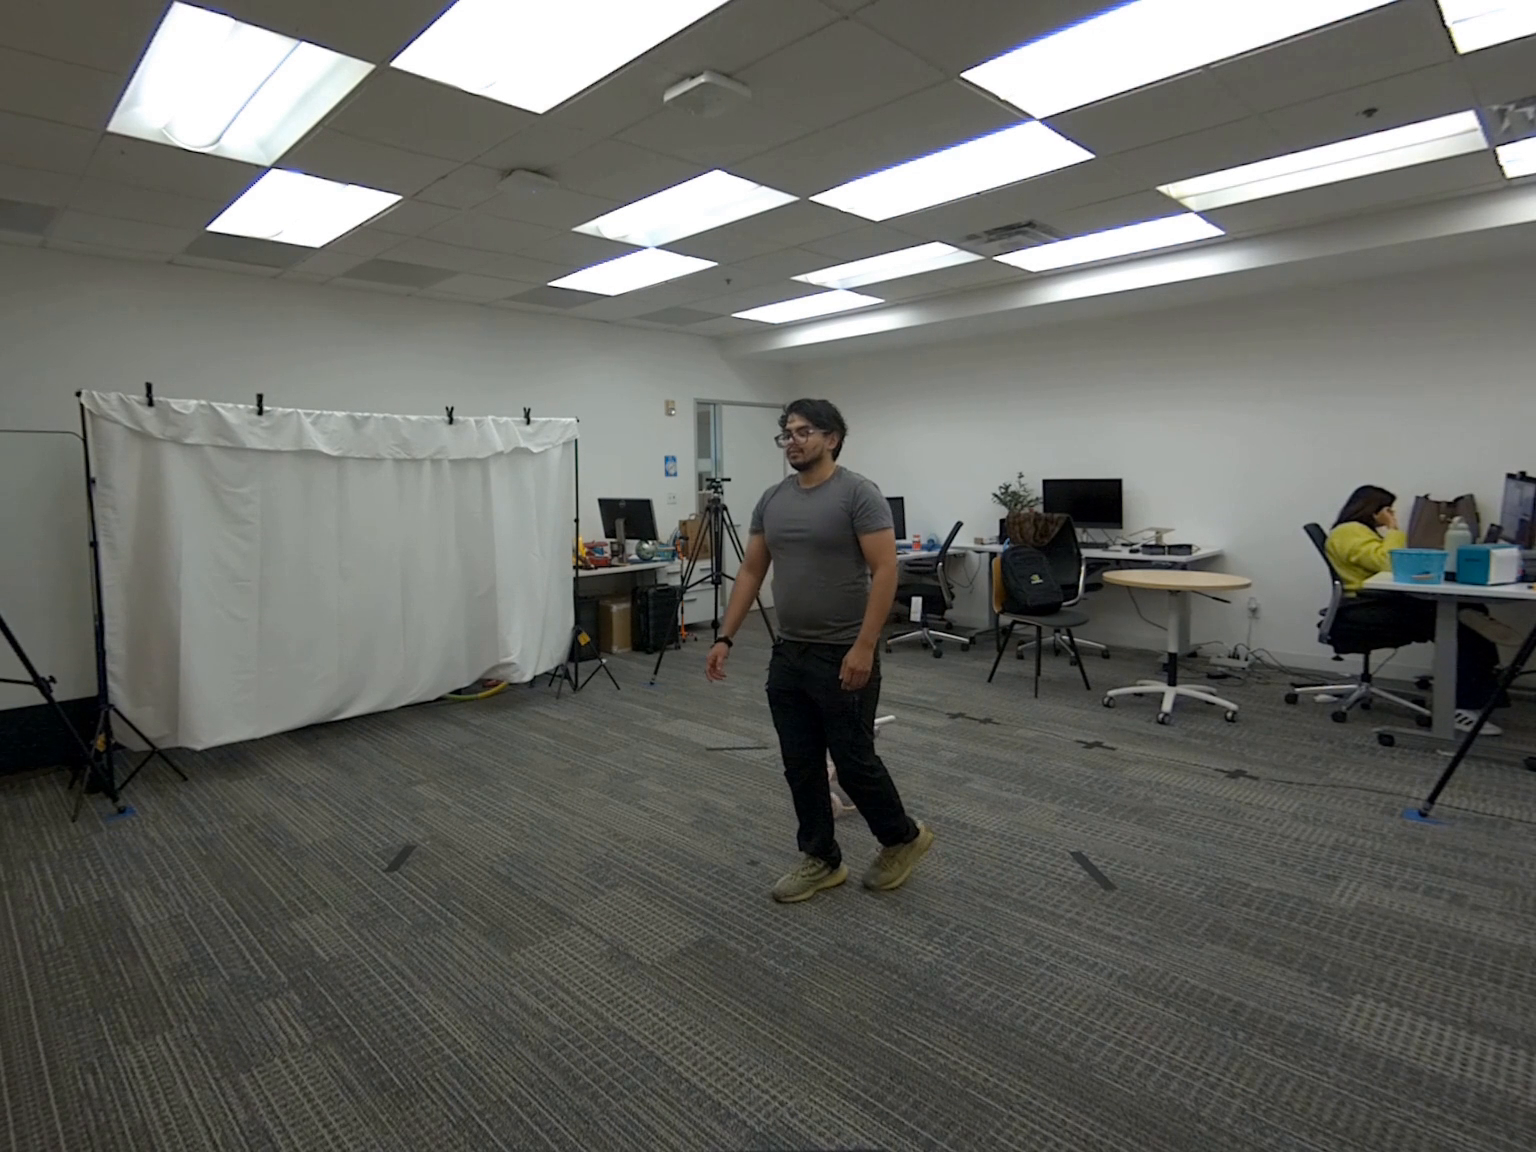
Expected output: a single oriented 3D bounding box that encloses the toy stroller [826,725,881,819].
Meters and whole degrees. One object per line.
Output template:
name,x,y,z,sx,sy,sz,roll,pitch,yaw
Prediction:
toy stroller,0.330,0.757,3.607,0.274,0.528,0.354,-4,22,-33
